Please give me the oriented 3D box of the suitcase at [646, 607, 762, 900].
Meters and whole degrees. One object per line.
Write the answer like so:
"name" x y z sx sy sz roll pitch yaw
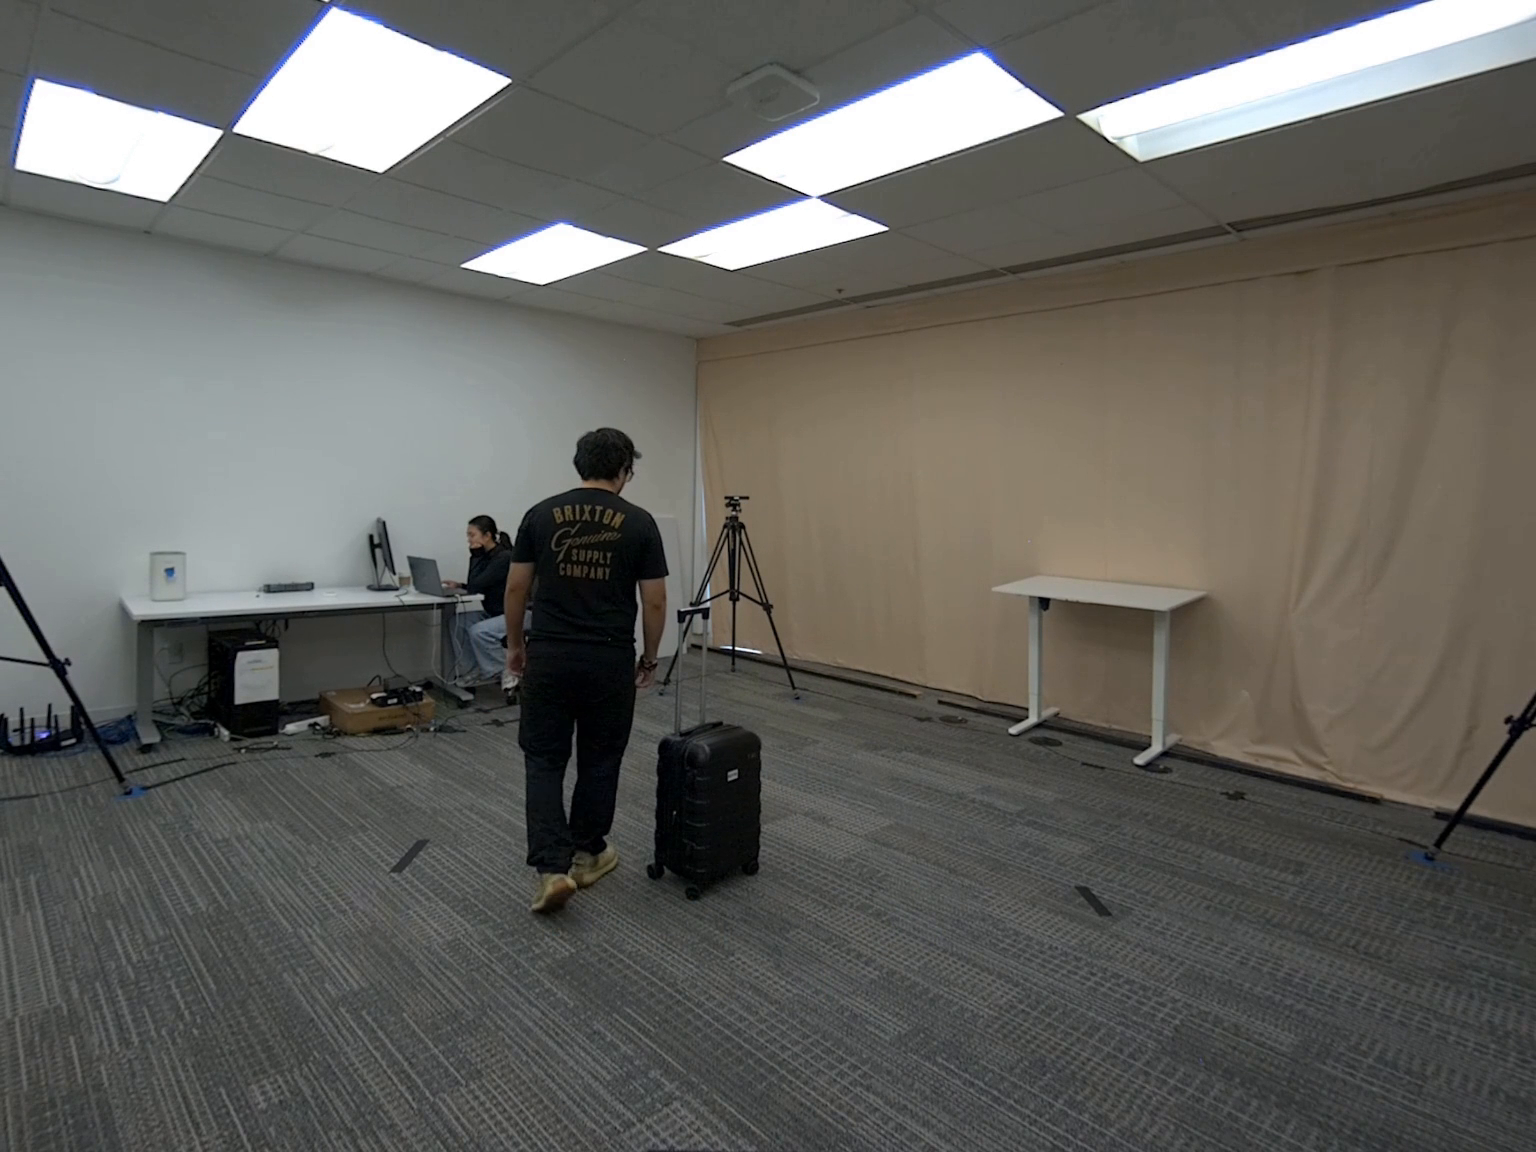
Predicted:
"suitcase" -0.206 0.629 3.070 0.264 0.975 0.375 7 6 39
